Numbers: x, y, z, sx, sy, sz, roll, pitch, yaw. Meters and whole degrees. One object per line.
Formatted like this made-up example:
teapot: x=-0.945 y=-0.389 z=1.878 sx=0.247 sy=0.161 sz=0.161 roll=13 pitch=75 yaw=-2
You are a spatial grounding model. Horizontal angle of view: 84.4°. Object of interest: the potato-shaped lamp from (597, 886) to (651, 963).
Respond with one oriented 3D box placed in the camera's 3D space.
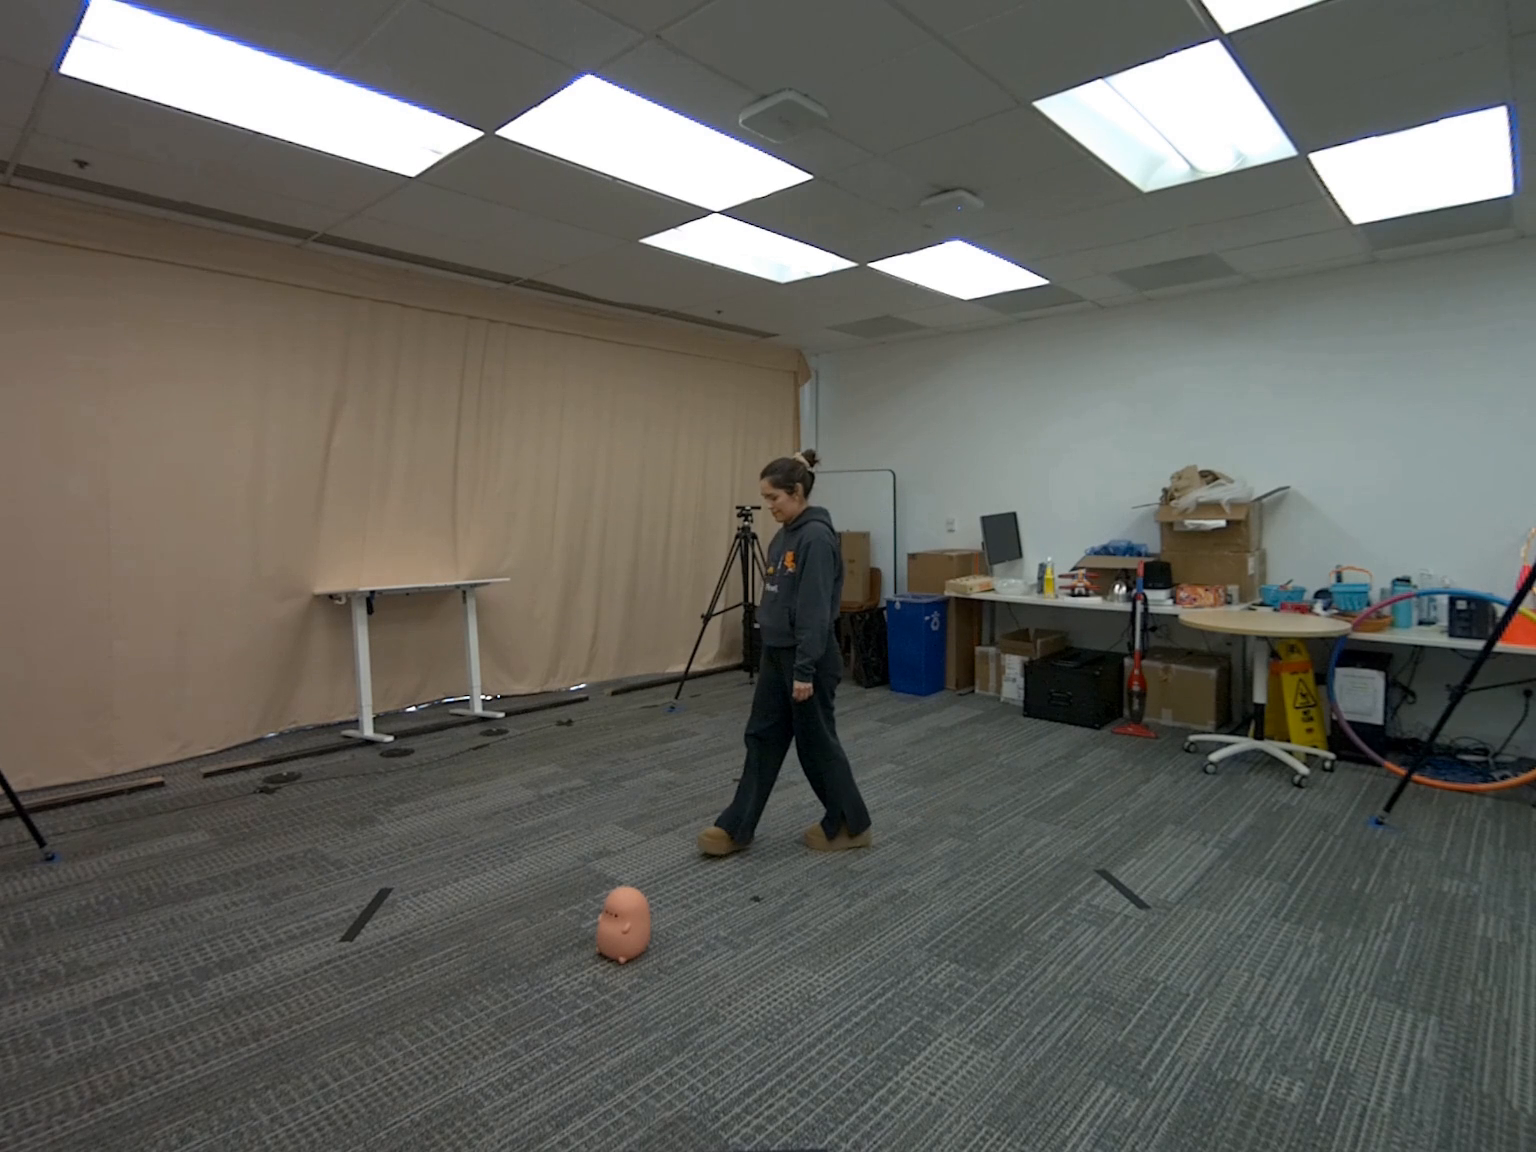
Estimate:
potato-shaped lamp: x=-0.433 y=1.082 z=2.631 sx=0.170 sy=0.198 sz=0.166 roll=0 pitch=2 yaw=40
